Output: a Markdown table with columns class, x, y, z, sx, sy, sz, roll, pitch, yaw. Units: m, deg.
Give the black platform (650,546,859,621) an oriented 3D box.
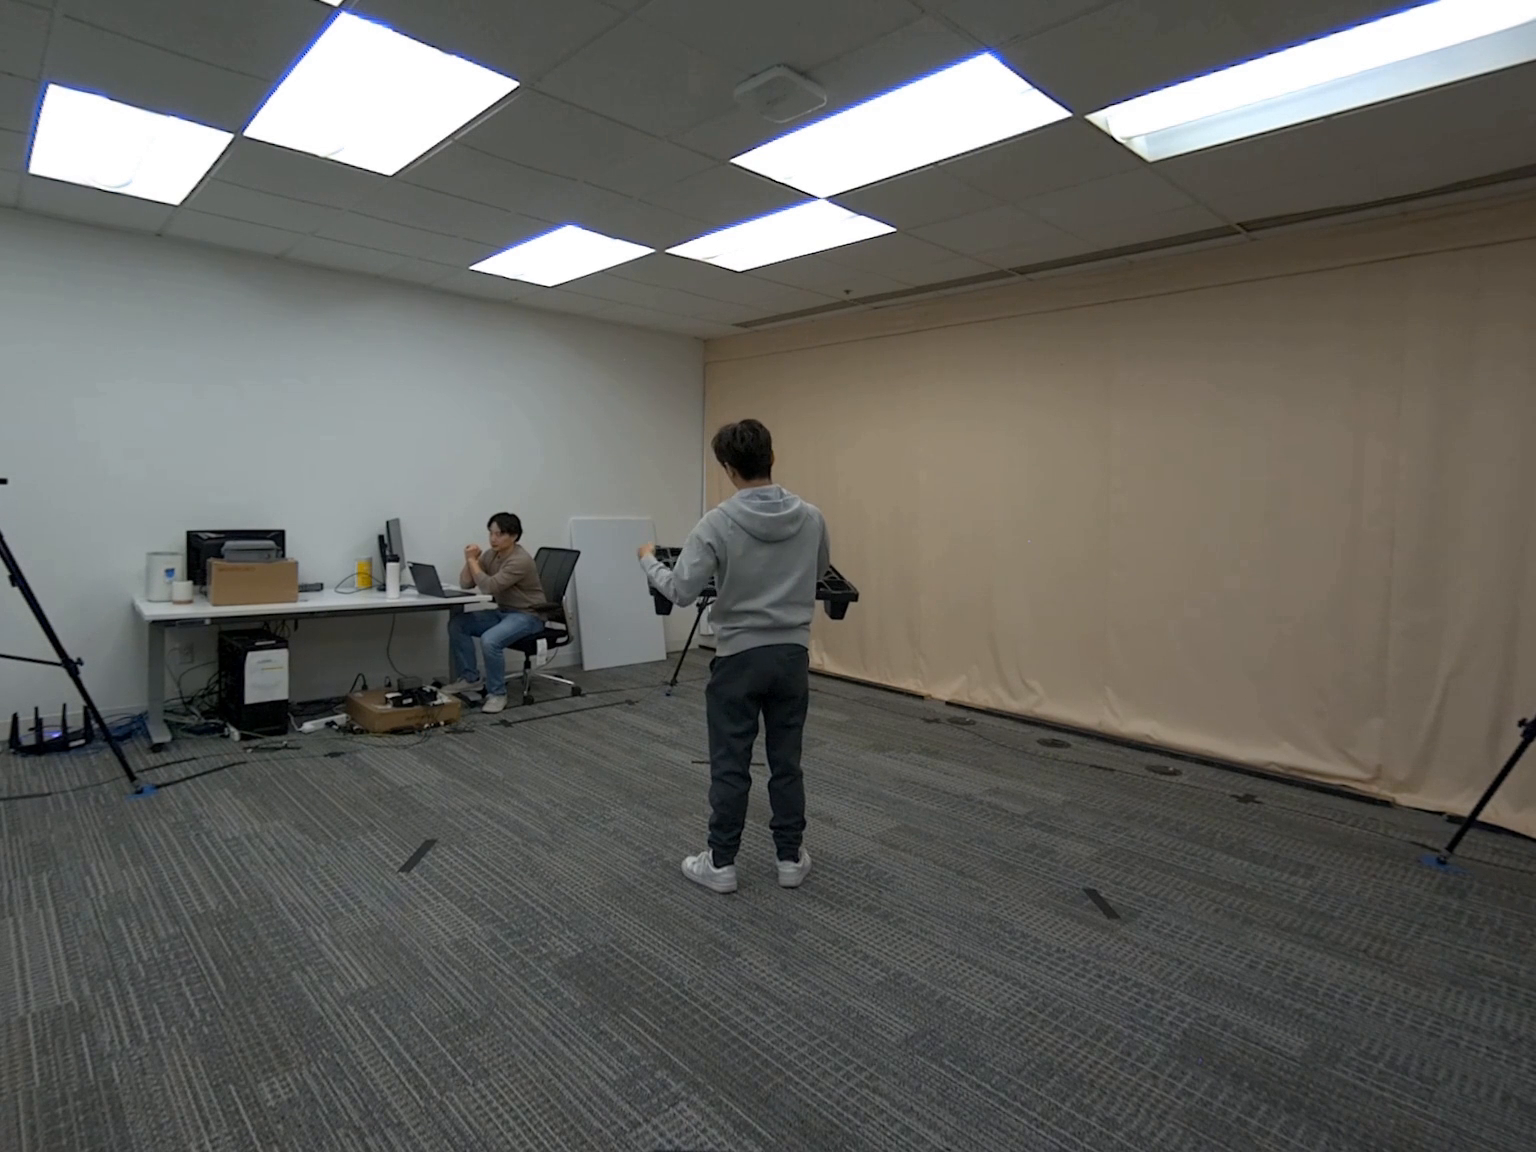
| class | x | y | z | sx | sy | sz | roll | pitch | yaw |
| --- | --- | --- | --- | --- | --- | --- | --- | --- | --- |
| black platform | -0.115 | 0.029 | 3.437 | 0.800 | 0.142 | 0.615 | 3 | 16 | -9 |
